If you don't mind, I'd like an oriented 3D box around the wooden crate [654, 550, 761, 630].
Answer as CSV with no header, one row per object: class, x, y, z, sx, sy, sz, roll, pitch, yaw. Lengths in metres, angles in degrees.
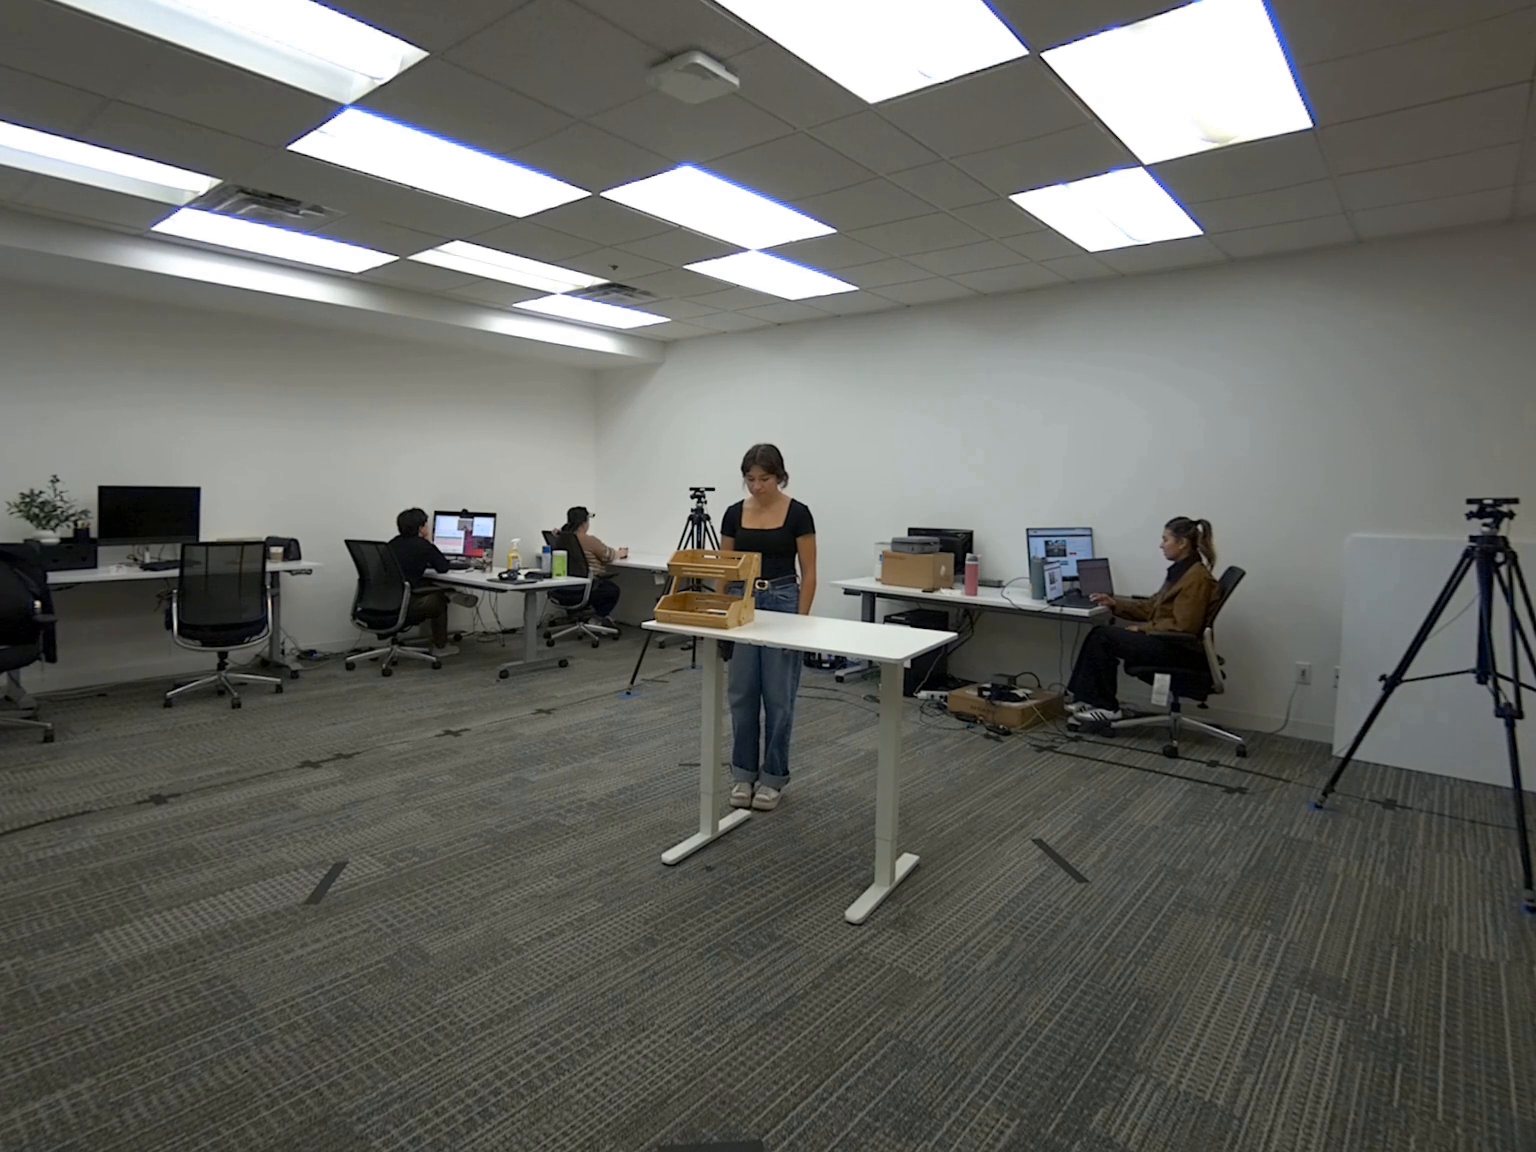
wooden crate,-0.235,0.037,3.234,0.333,0.272,0.295,4,4,24
